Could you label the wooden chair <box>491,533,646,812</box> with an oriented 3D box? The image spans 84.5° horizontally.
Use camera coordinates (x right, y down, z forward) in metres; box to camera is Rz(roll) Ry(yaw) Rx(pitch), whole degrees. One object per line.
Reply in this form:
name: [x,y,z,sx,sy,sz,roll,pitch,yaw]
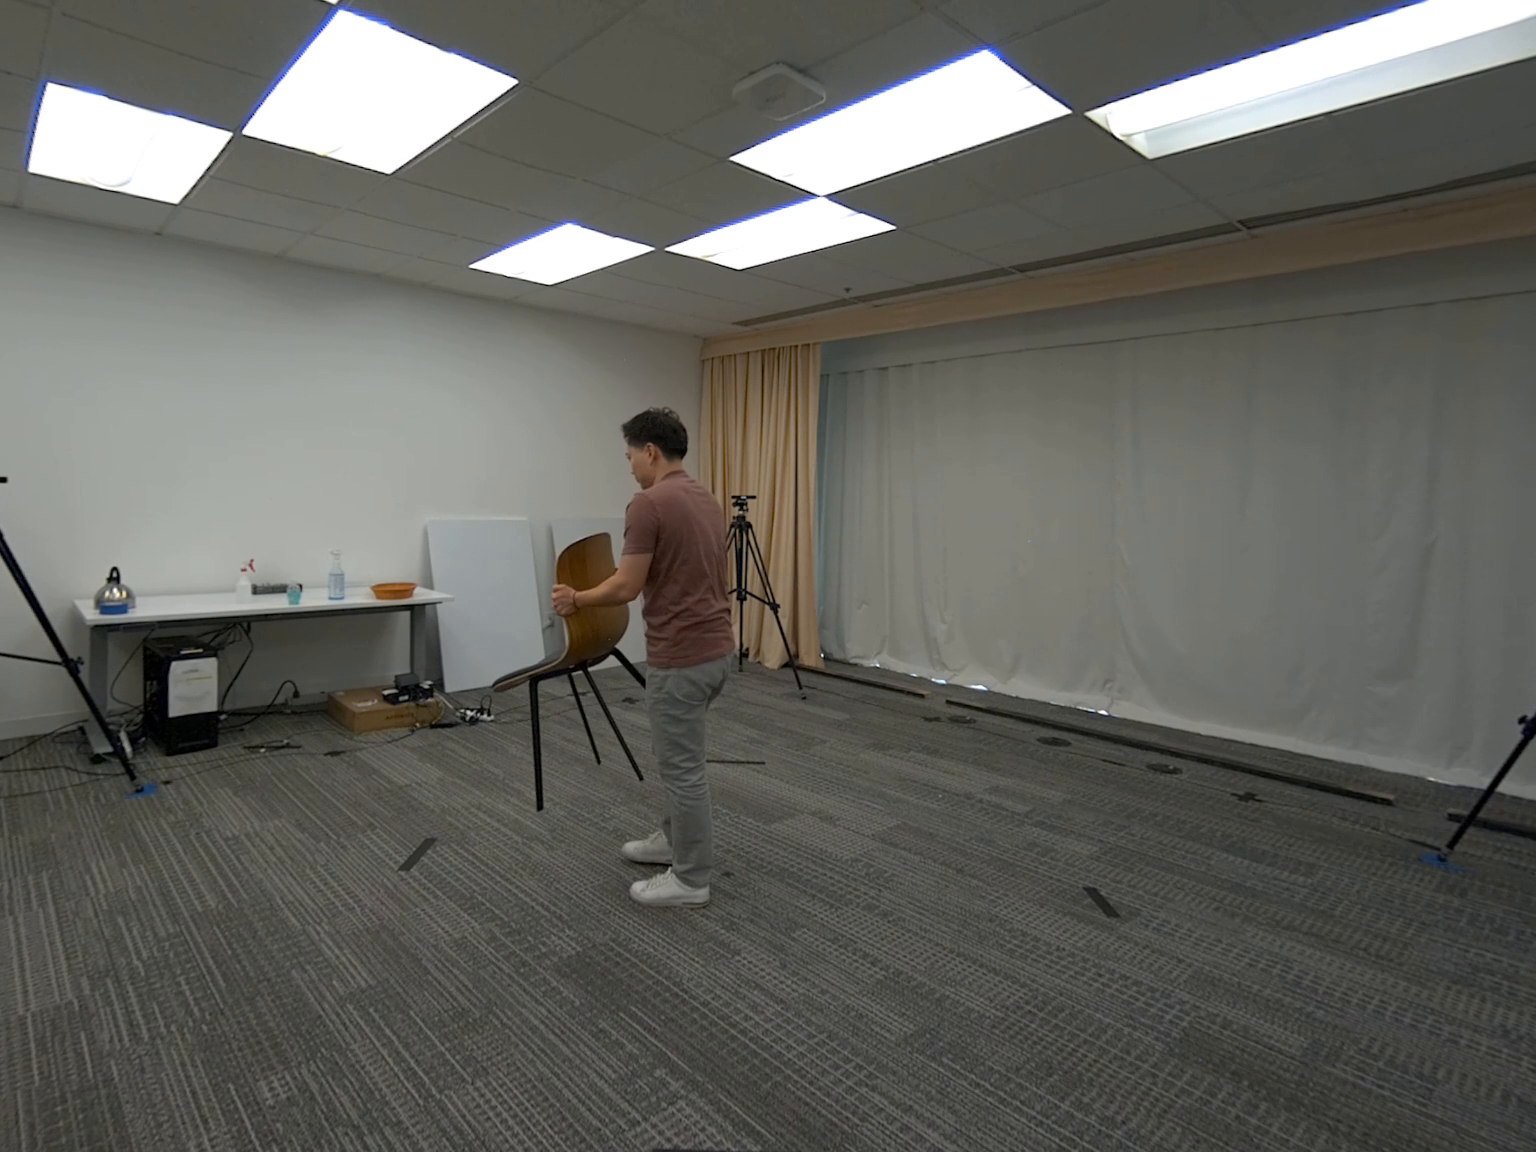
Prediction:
wooden chair: [-0.722,0.338,3.112,0.529,0.875,0.474,-17,3,21]
